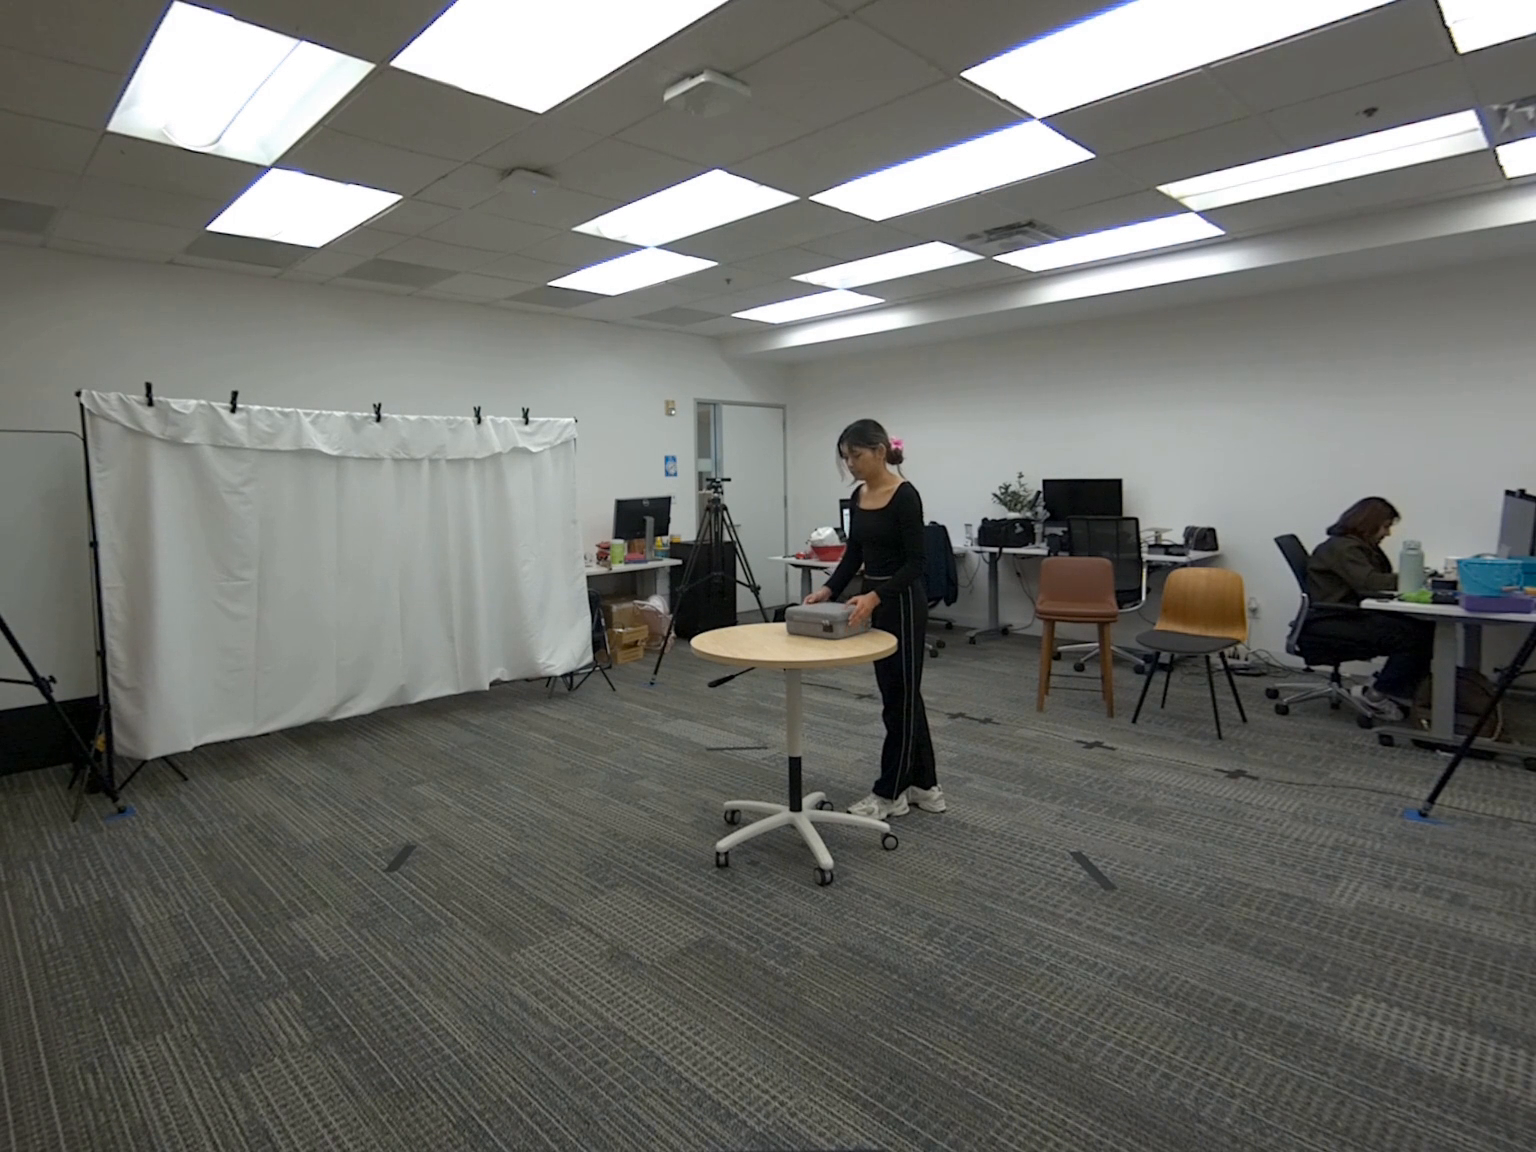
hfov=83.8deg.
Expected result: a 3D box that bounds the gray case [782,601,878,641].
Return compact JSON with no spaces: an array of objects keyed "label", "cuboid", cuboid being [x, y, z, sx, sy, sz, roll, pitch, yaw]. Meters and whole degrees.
[{"label":"gray case","cuboid":[0.239,0.166,3.284,0.264,0.104,0.254,0,6,37]}]
